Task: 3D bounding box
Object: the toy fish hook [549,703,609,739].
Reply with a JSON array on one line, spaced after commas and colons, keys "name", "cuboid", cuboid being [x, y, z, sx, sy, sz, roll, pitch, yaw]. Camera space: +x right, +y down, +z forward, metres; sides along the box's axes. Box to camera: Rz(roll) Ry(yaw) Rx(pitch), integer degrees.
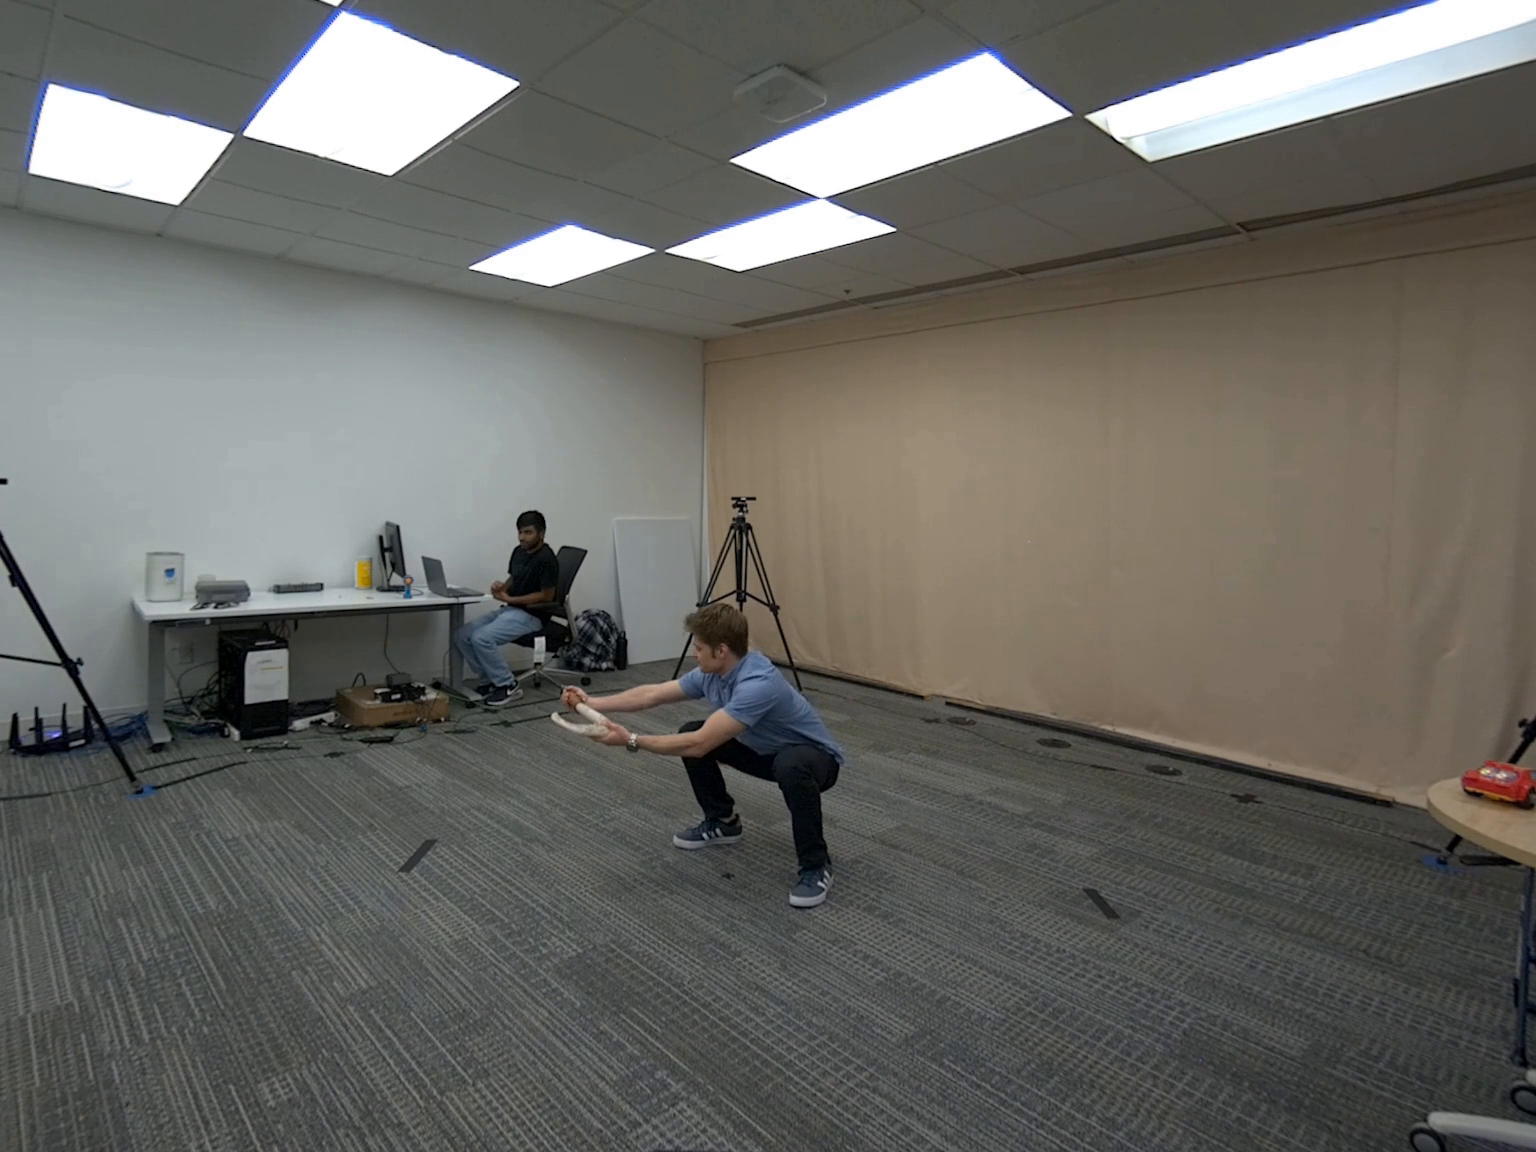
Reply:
[{"name": "toy fish hook", "cuboid": [-0.752, 0.517, 3.236, 0.219, 0.048, 0.520, 14, 3, -31]}]
